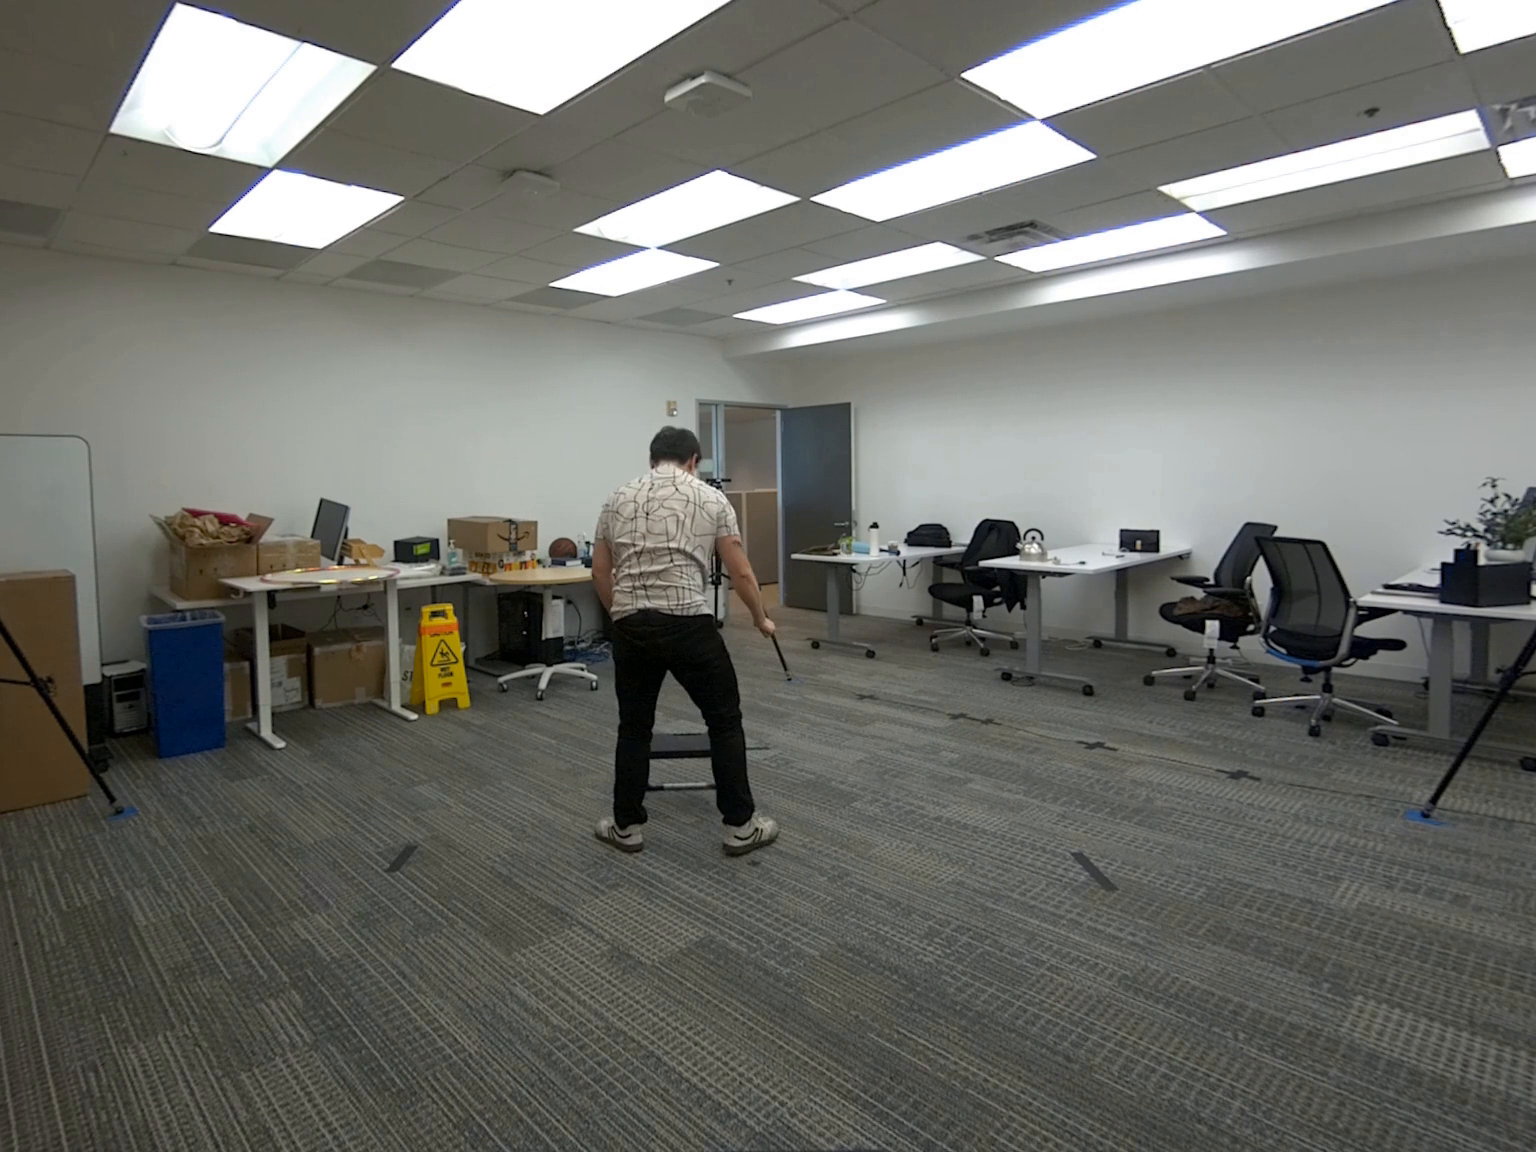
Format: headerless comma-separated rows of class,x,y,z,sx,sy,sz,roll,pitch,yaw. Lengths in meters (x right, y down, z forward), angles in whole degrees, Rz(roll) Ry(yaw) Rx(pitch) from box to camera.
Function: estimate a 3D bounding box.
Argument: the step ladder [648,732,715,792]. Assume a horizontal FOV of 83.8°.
step ladder,-0.354,0.682,3.702,0.430,0.604,0.351,-1,4,-3
